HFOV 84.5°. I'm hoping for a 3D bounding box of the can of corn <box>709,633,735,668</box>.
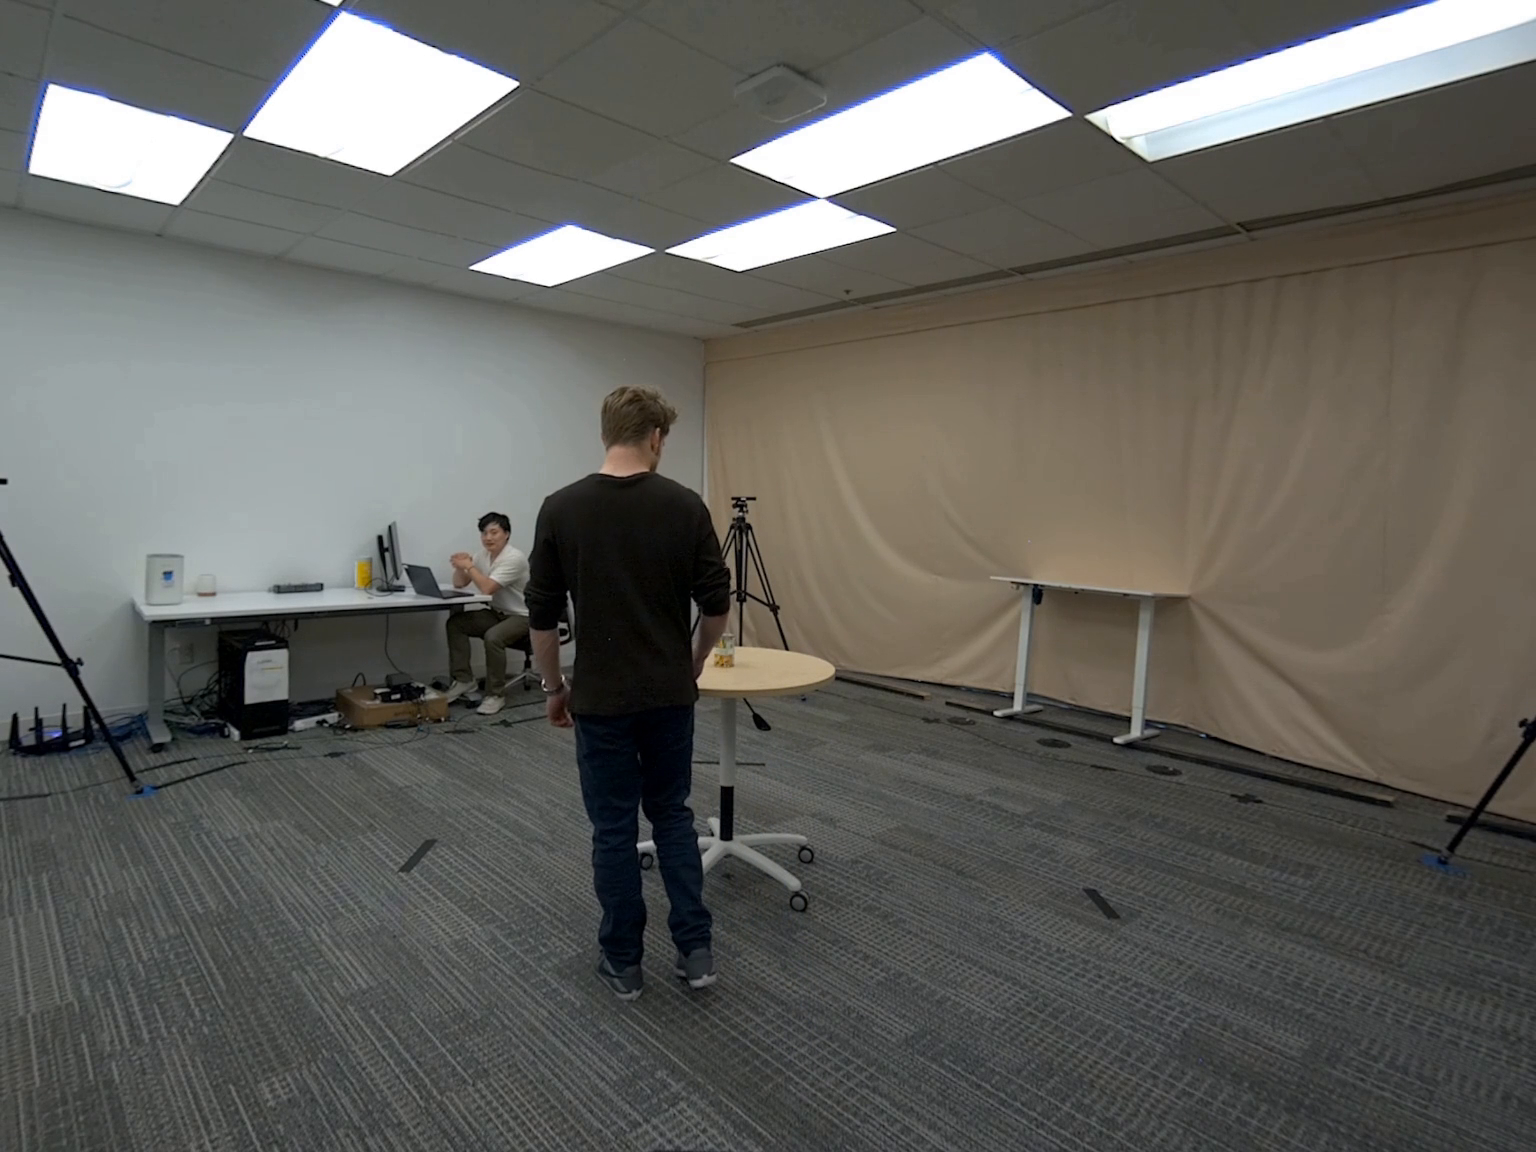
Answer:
[{"bbox_3d":[-0.164,0.271,3.053,0.074,0.111,0.074,2,3,-1],"label":"can of corn"}]
